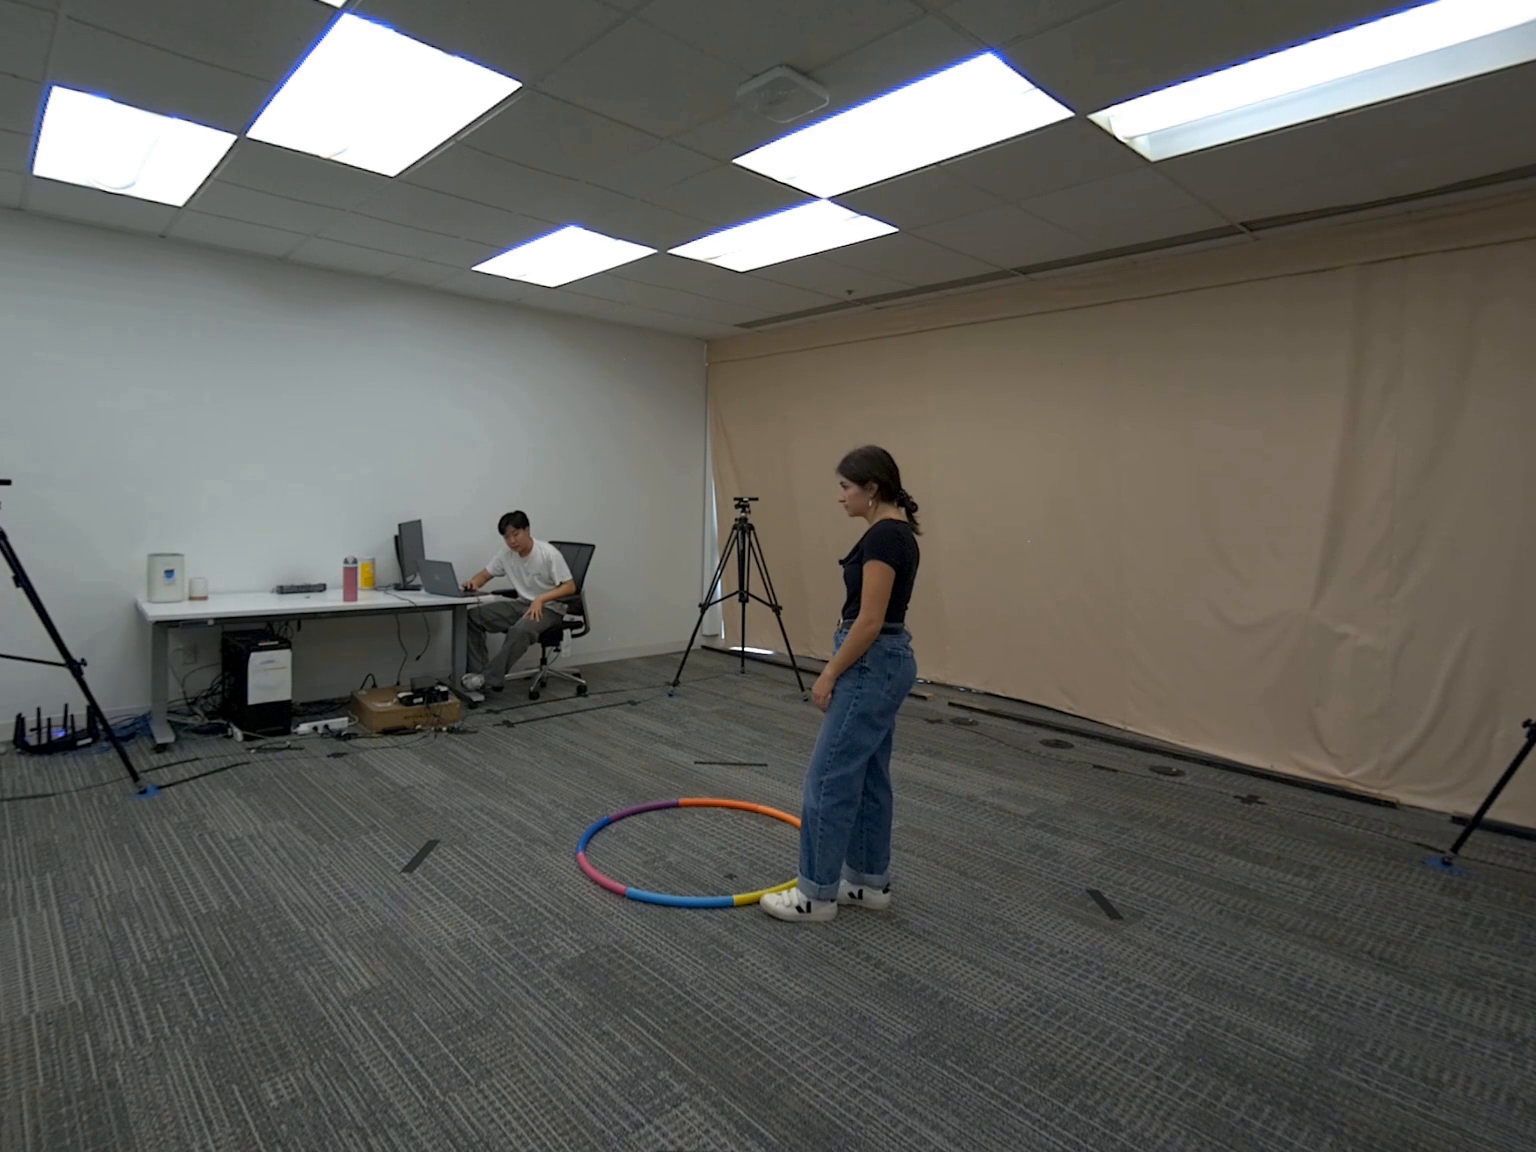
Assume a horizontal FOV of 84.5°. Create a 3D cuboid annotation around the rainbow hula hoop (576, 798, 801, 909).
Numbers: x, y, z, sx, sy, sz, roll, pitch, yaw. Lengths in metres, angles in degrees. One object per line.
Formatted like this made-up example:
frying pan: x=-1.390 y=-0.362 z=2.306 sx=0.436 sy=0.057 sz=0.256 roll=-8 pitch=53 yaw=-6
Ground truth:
rainbow hula hoop: x=-0.265 y=1.059 z=3.332 sx=0.978 sy=0.035 sz=0.982 roll=1 pitch=5 yaw=-1
